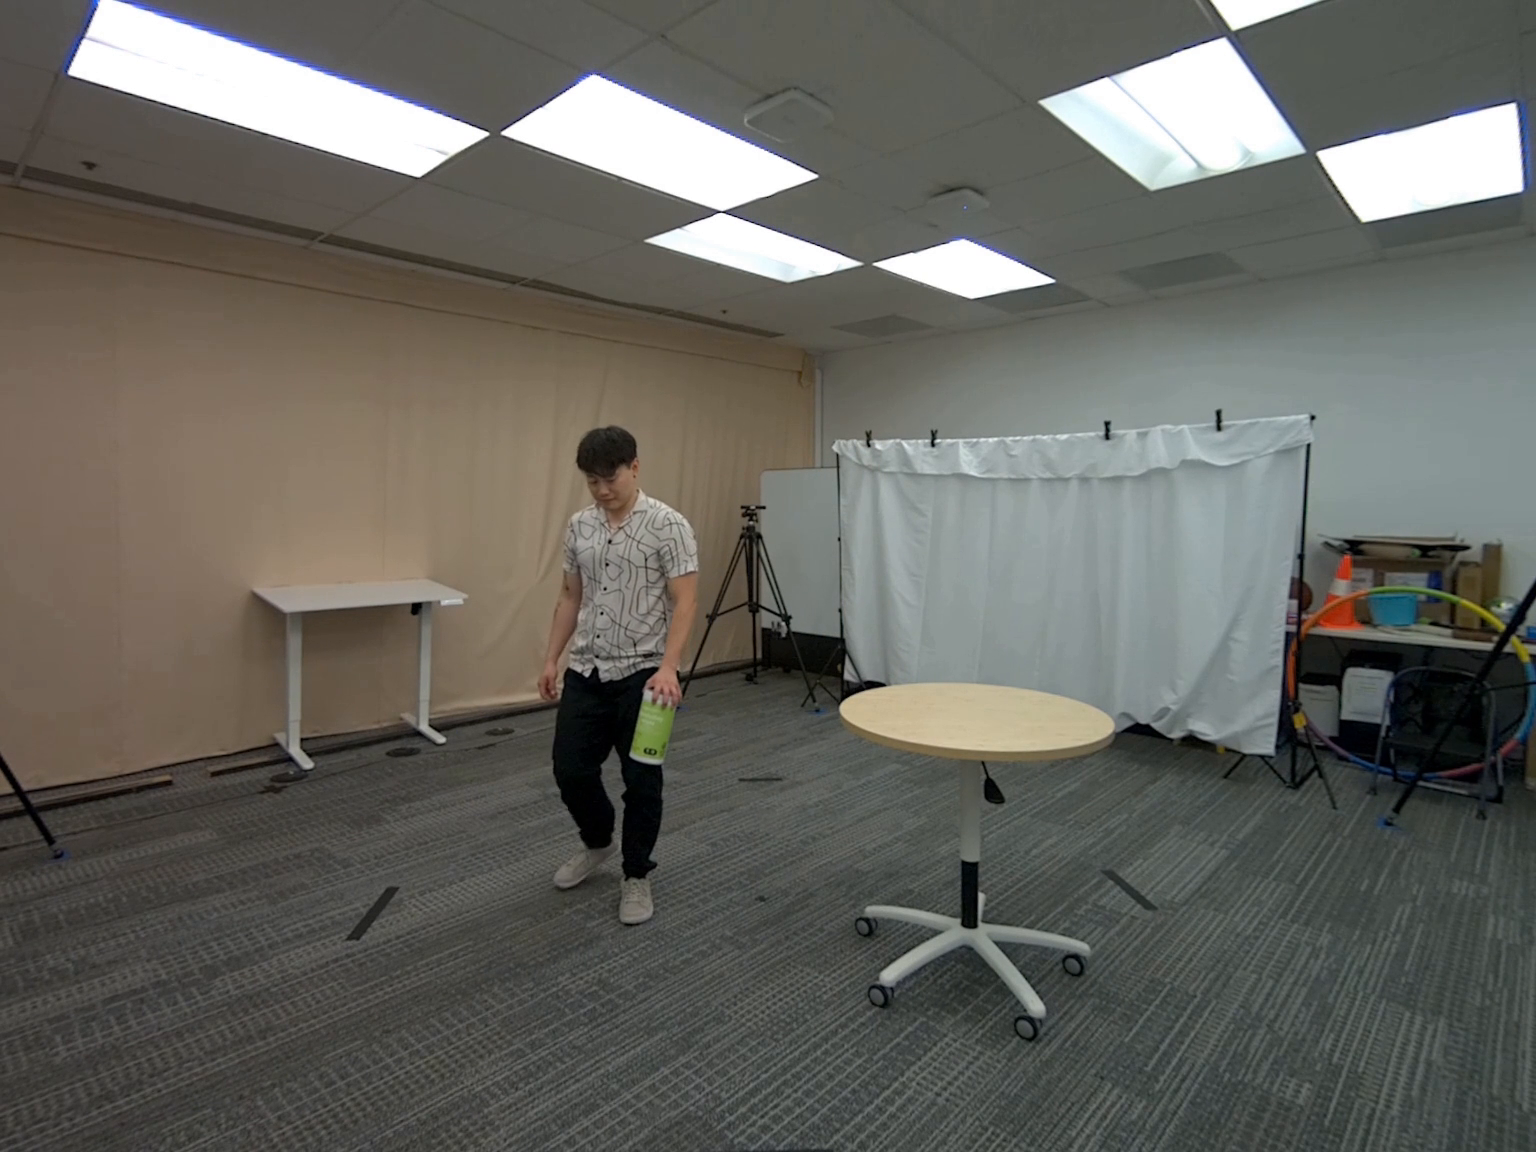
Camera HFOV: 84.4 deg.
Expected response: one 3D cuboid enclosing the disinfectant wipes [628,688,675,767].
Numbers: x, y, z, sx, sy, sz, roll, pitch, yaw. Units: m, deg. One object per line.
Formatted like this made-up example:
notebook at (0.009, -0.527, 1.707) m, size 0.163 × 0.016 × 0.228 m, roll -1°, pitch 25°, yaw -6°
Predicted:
disinfectant wipes at (-0.353, 0.474, 2.649) m, size 0.118 × 0.217 × 0.118 m, roll 10°, pitch -2°, yaw -2°
